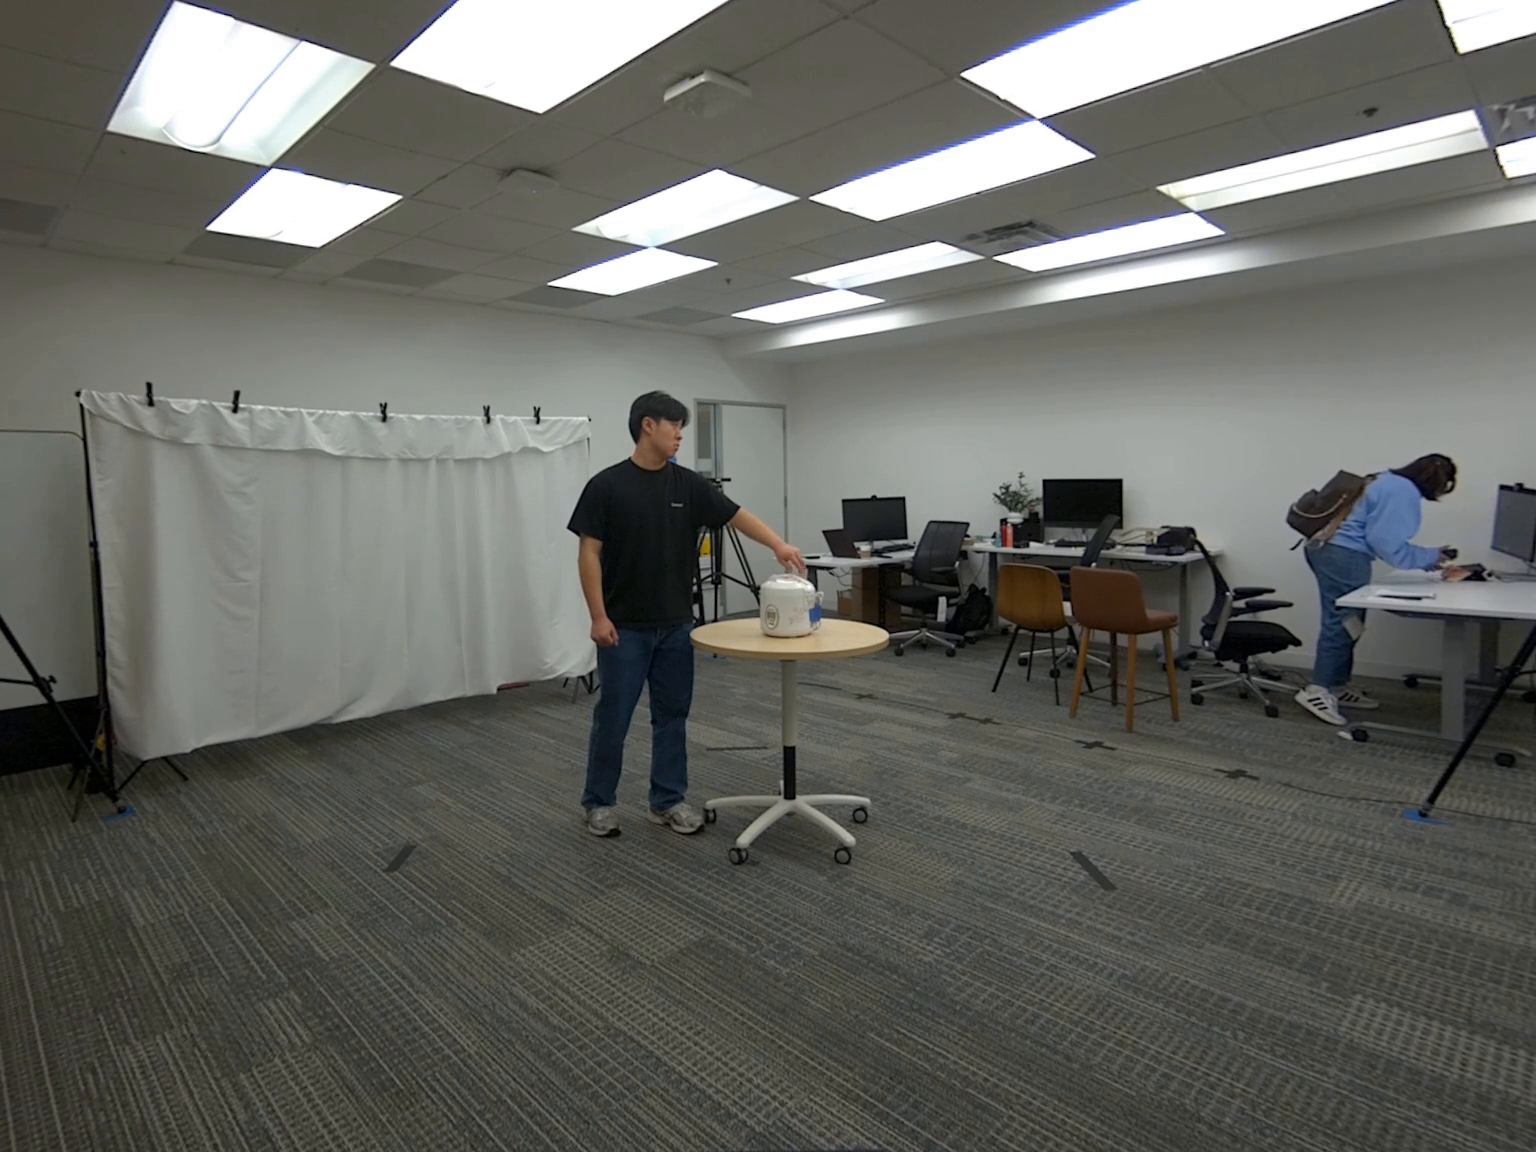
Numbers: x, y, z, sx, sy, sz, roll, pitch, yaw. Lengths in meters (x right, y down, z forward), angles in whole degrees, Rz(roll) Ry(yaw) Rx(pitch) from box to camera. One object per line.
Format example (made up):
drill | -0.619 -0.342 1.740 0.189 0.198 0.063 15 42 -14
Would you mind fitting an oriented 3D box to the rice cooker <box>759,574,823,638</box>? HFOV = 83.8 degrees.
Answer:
rice cooker | 0.075 0.106 3.272 0.227 0.232 0.212 3 4 36
